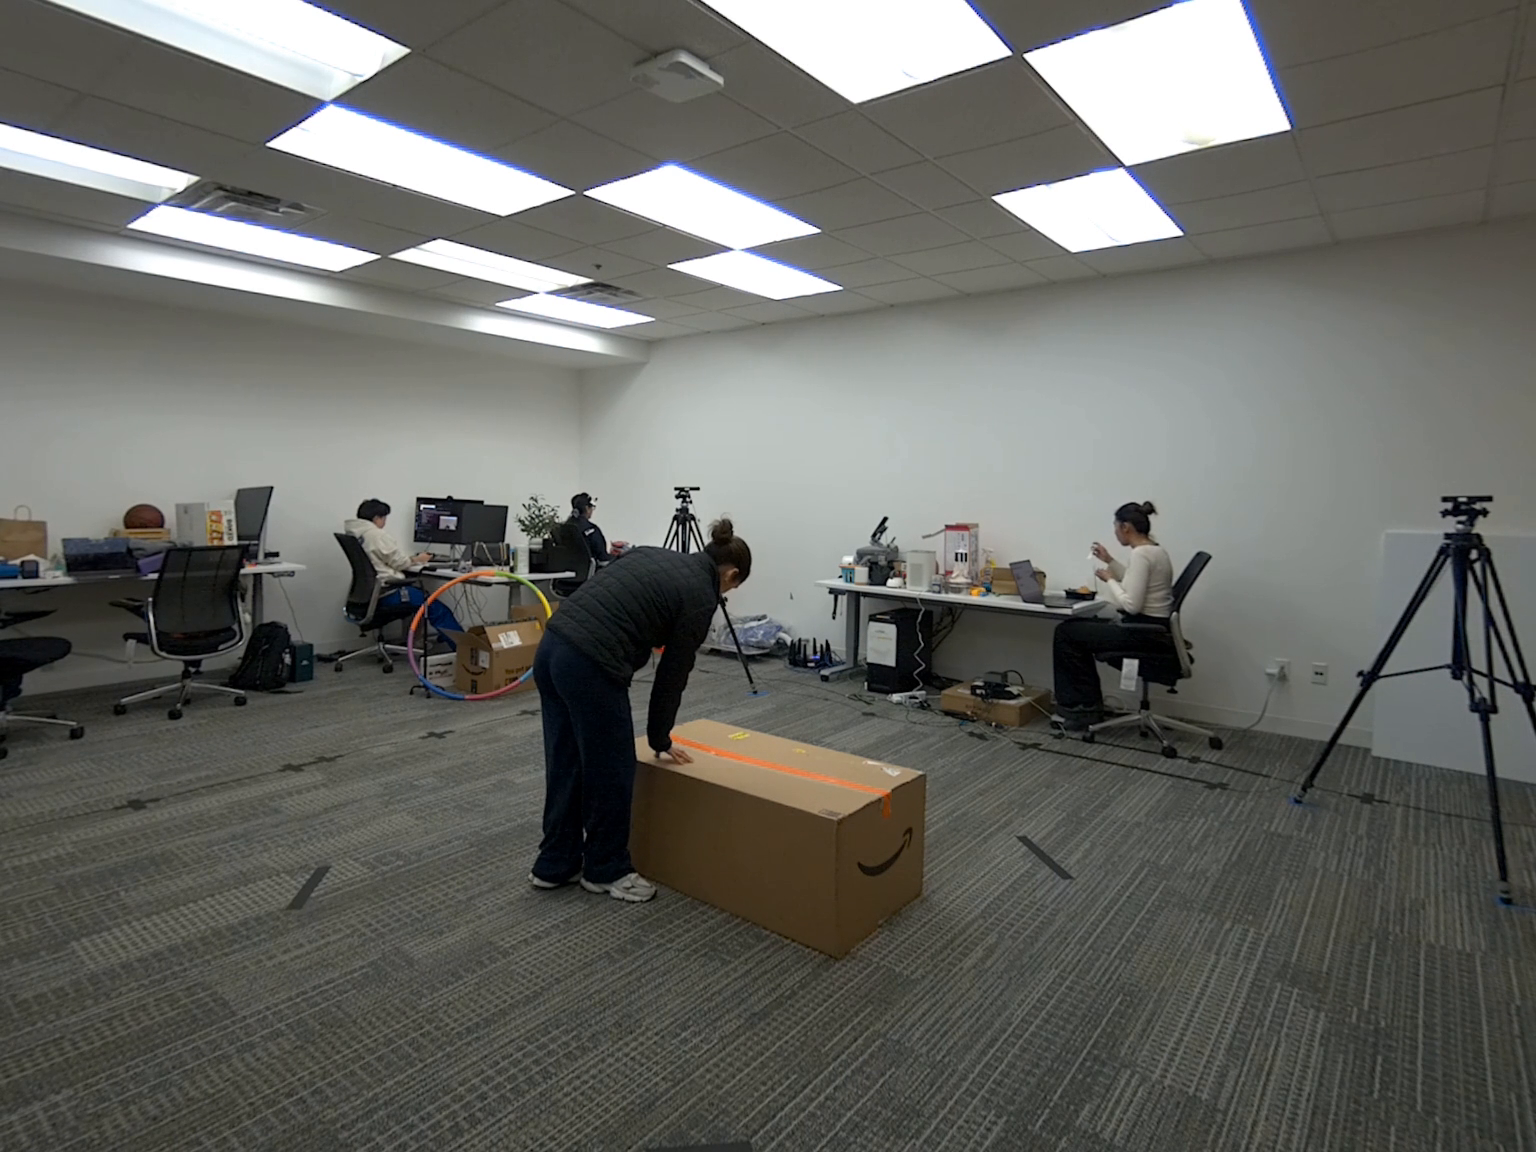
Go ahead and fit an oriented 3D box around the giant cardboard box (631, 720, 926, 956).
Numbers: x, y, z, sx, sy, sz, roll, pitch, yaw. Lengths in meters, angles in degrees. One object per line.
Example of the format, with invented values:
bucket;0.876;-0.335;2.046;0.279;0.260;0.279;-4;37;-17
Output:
giant cardboard box;-0.021;0.866;3.059;1.062;0.445;0.567;6;8;39
